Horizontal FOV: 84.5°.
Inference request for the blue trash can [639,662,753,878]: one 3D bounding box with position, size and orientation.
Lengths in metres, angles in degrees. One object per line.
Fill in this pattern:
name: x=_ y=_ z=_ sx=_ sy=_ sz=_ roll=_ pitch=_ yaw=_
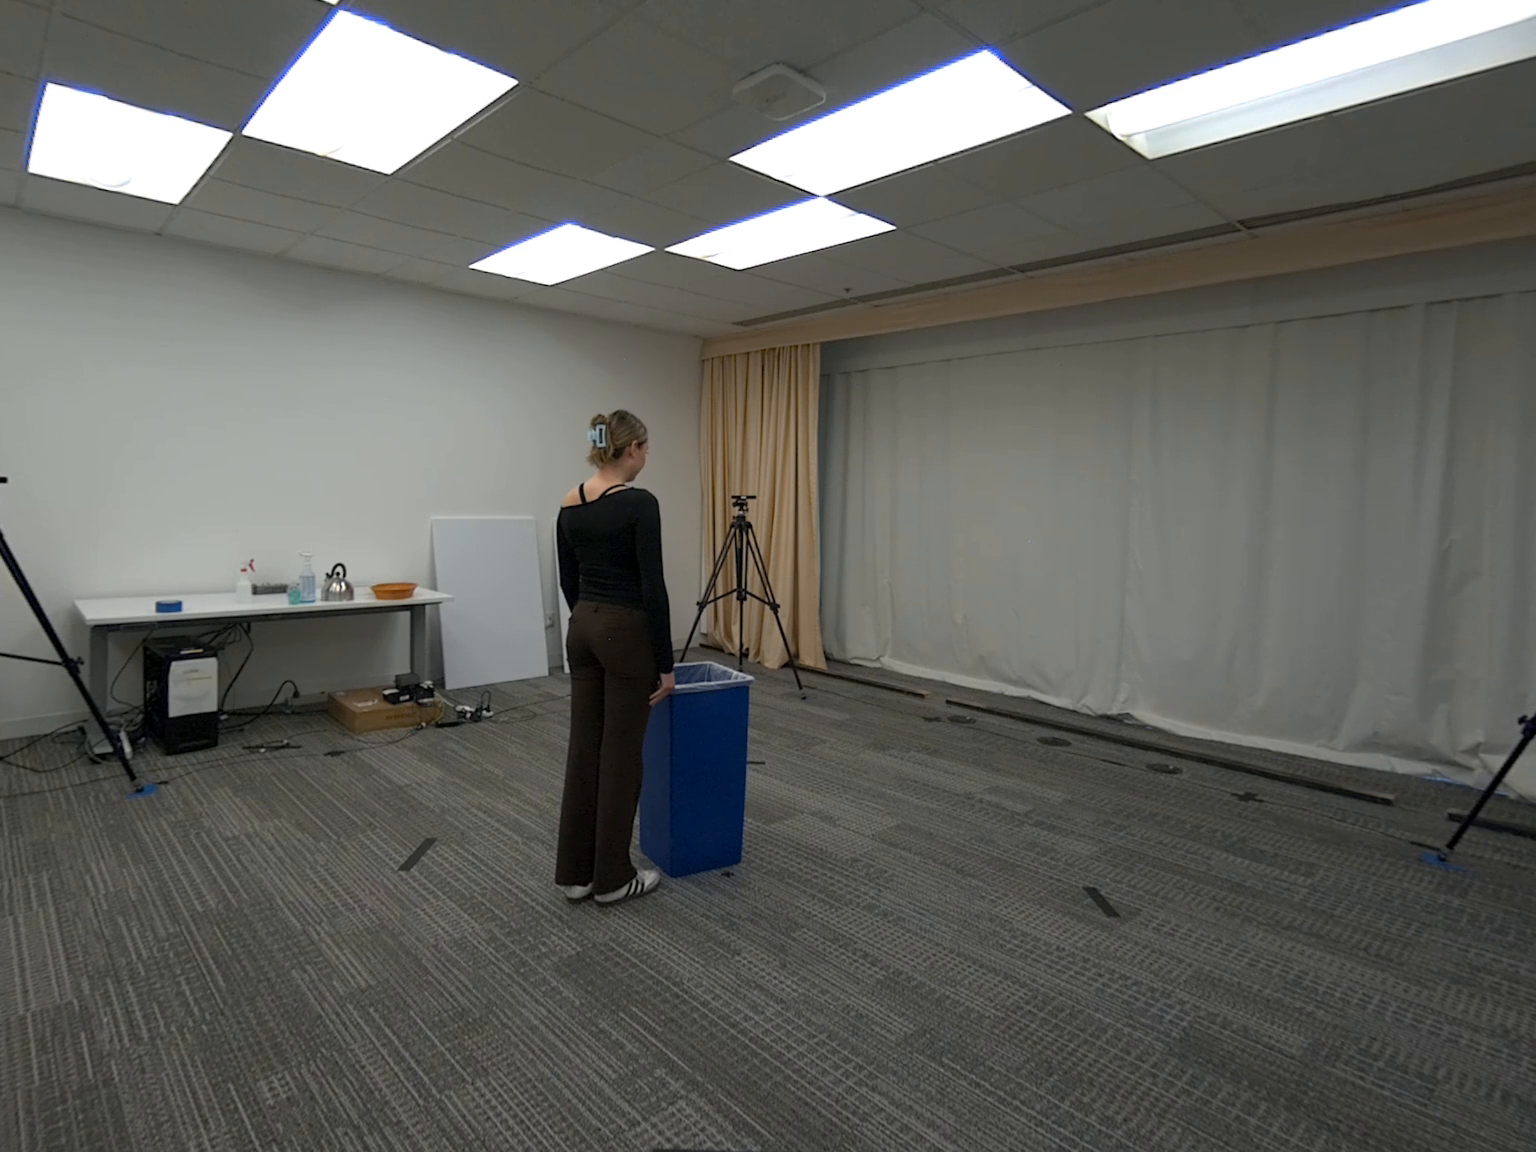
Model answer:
blue trash can: x=-0.303 y=0.729 z=3.232 sx=0.366 sy=0.712 sz=0.387 roll=-1 pitch=4 yaw=-31
